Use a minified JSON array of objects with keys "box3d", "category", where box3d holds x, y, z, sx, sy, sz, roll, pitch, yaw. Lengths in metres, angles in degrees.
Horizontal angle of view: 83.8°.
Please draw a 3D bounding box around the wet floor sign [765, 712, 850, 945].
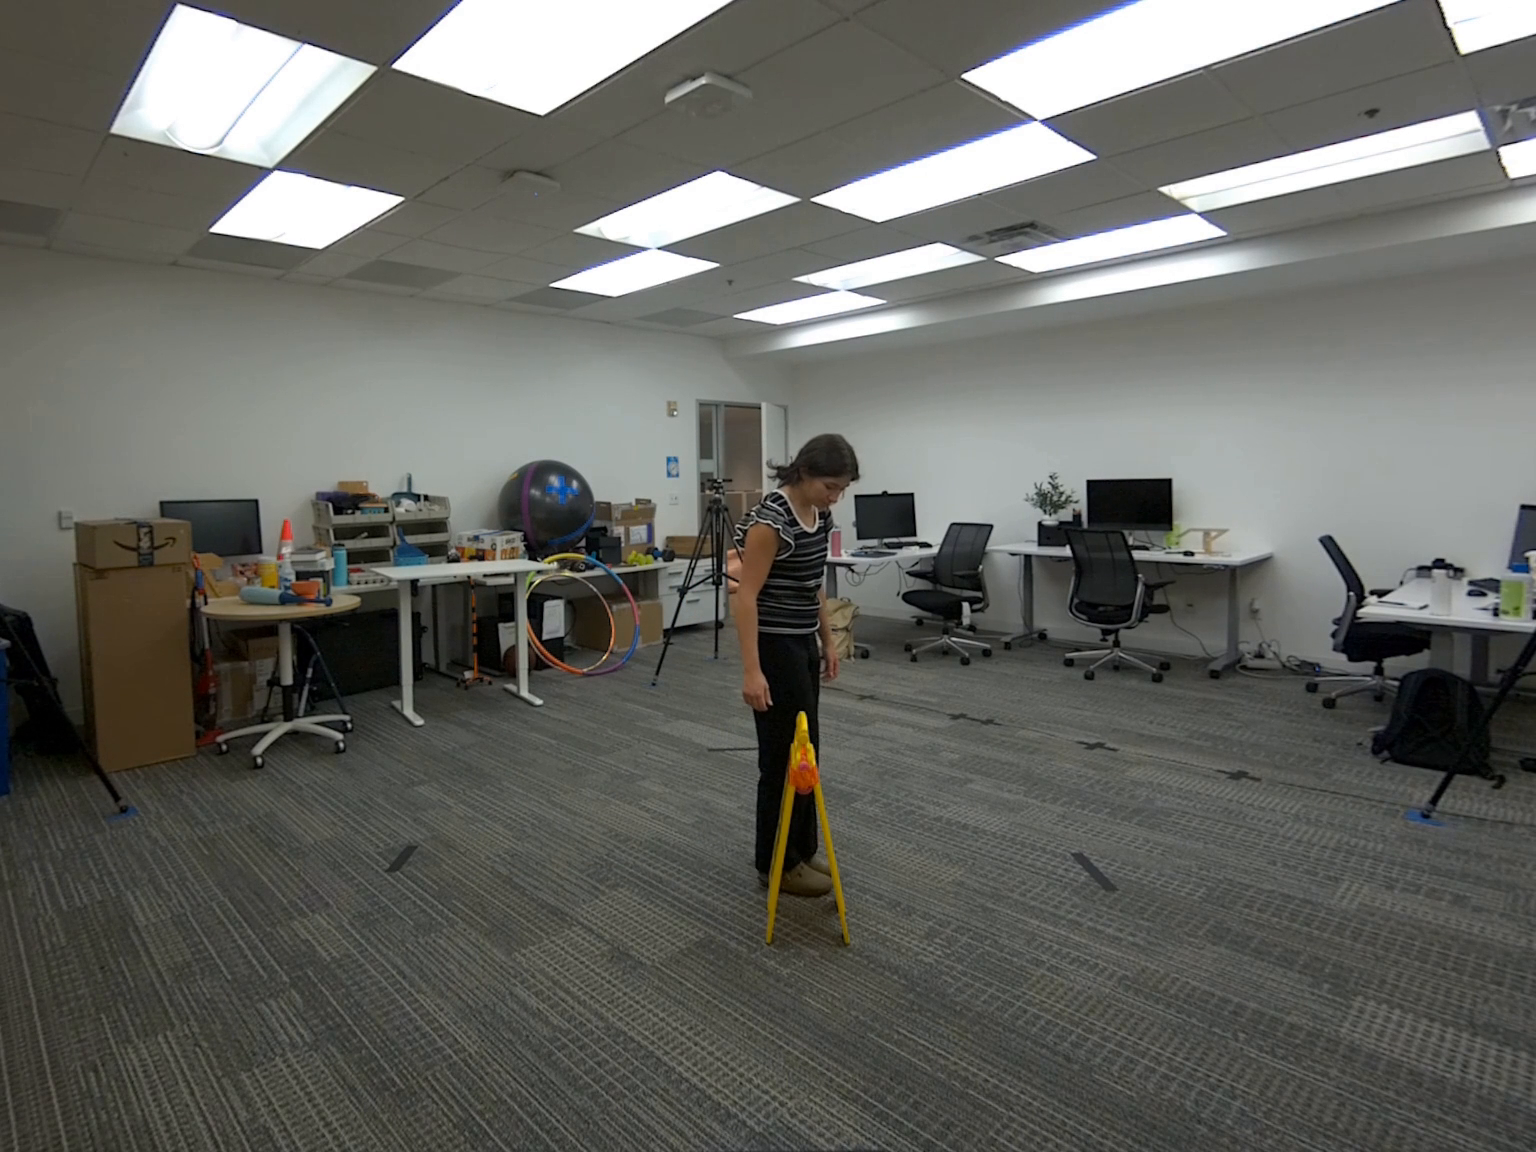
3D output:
[{"box3d":[0.111,0.771,2.670,0.290,0.644,0.282,-3,3,2],"category":"wet floor sign"}]
